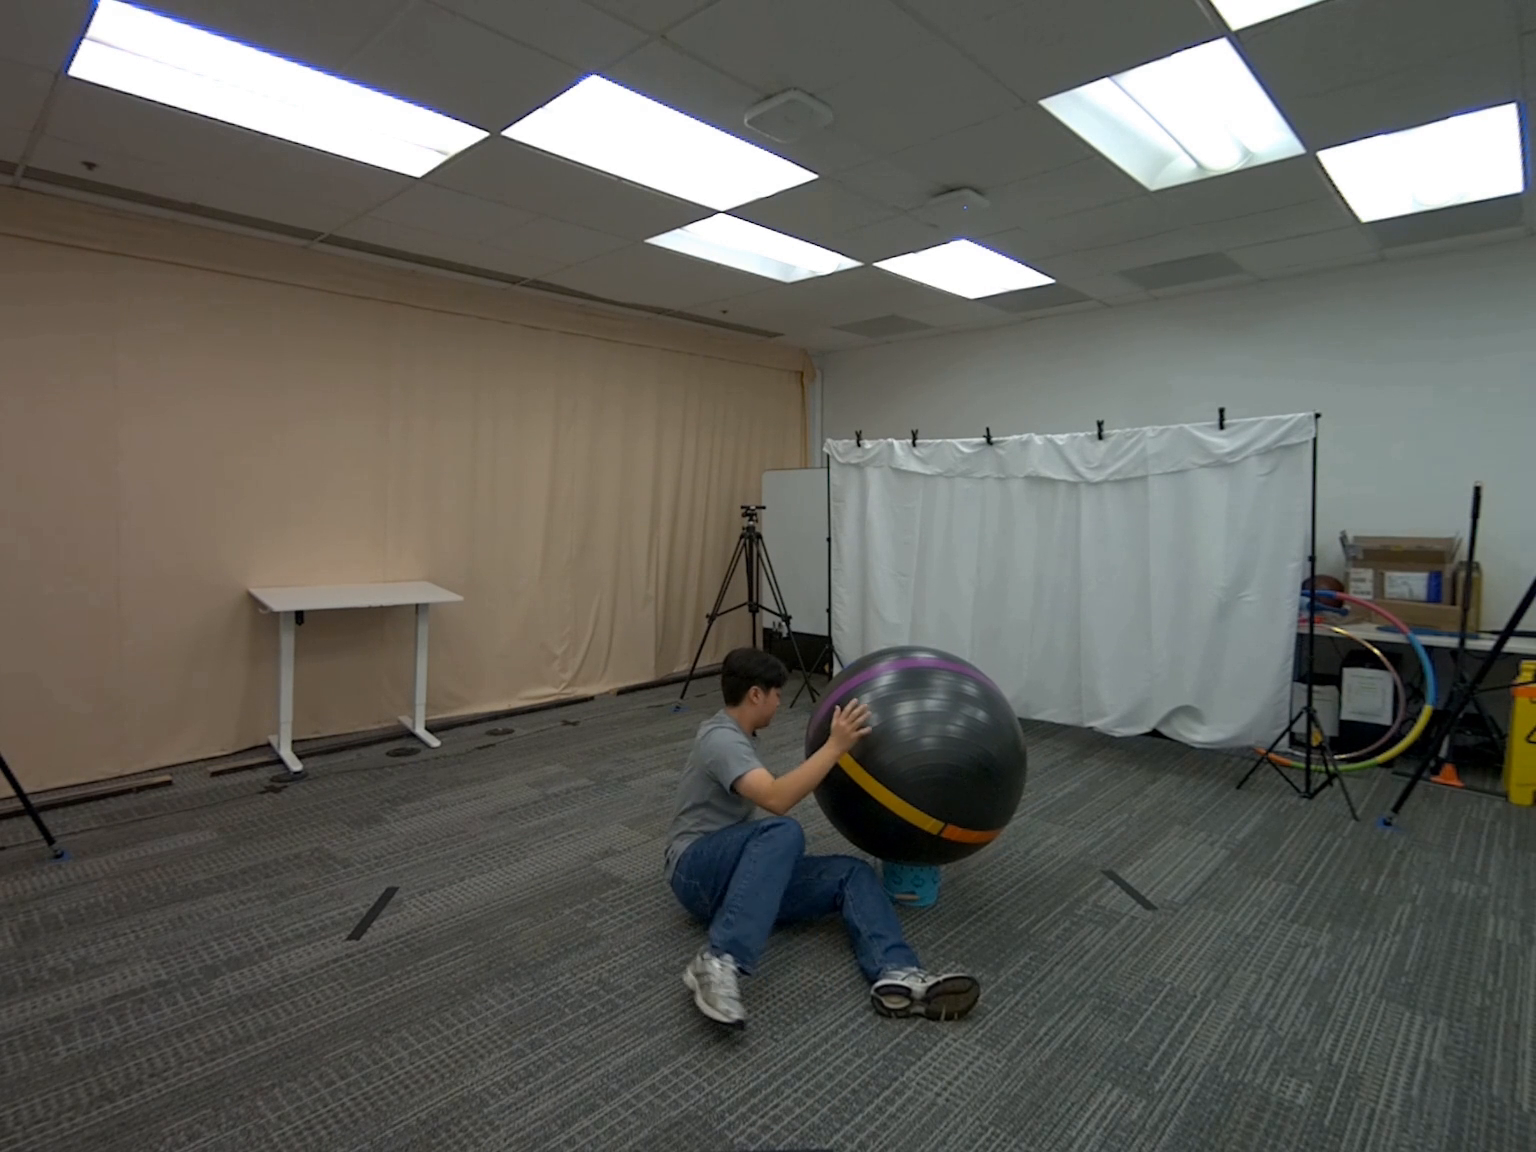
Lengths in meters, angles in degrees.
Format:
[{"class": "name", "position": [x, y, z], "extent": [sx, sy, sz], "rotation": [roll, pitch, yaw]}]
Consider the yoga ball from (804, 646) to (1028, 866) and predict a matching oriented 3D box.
[{"class": "yoga ball", "position": [0.529, 0.635, 2.986], "extent": [0.757, 0.756, 0.761], "rotation": [0, 4, -2]}]
